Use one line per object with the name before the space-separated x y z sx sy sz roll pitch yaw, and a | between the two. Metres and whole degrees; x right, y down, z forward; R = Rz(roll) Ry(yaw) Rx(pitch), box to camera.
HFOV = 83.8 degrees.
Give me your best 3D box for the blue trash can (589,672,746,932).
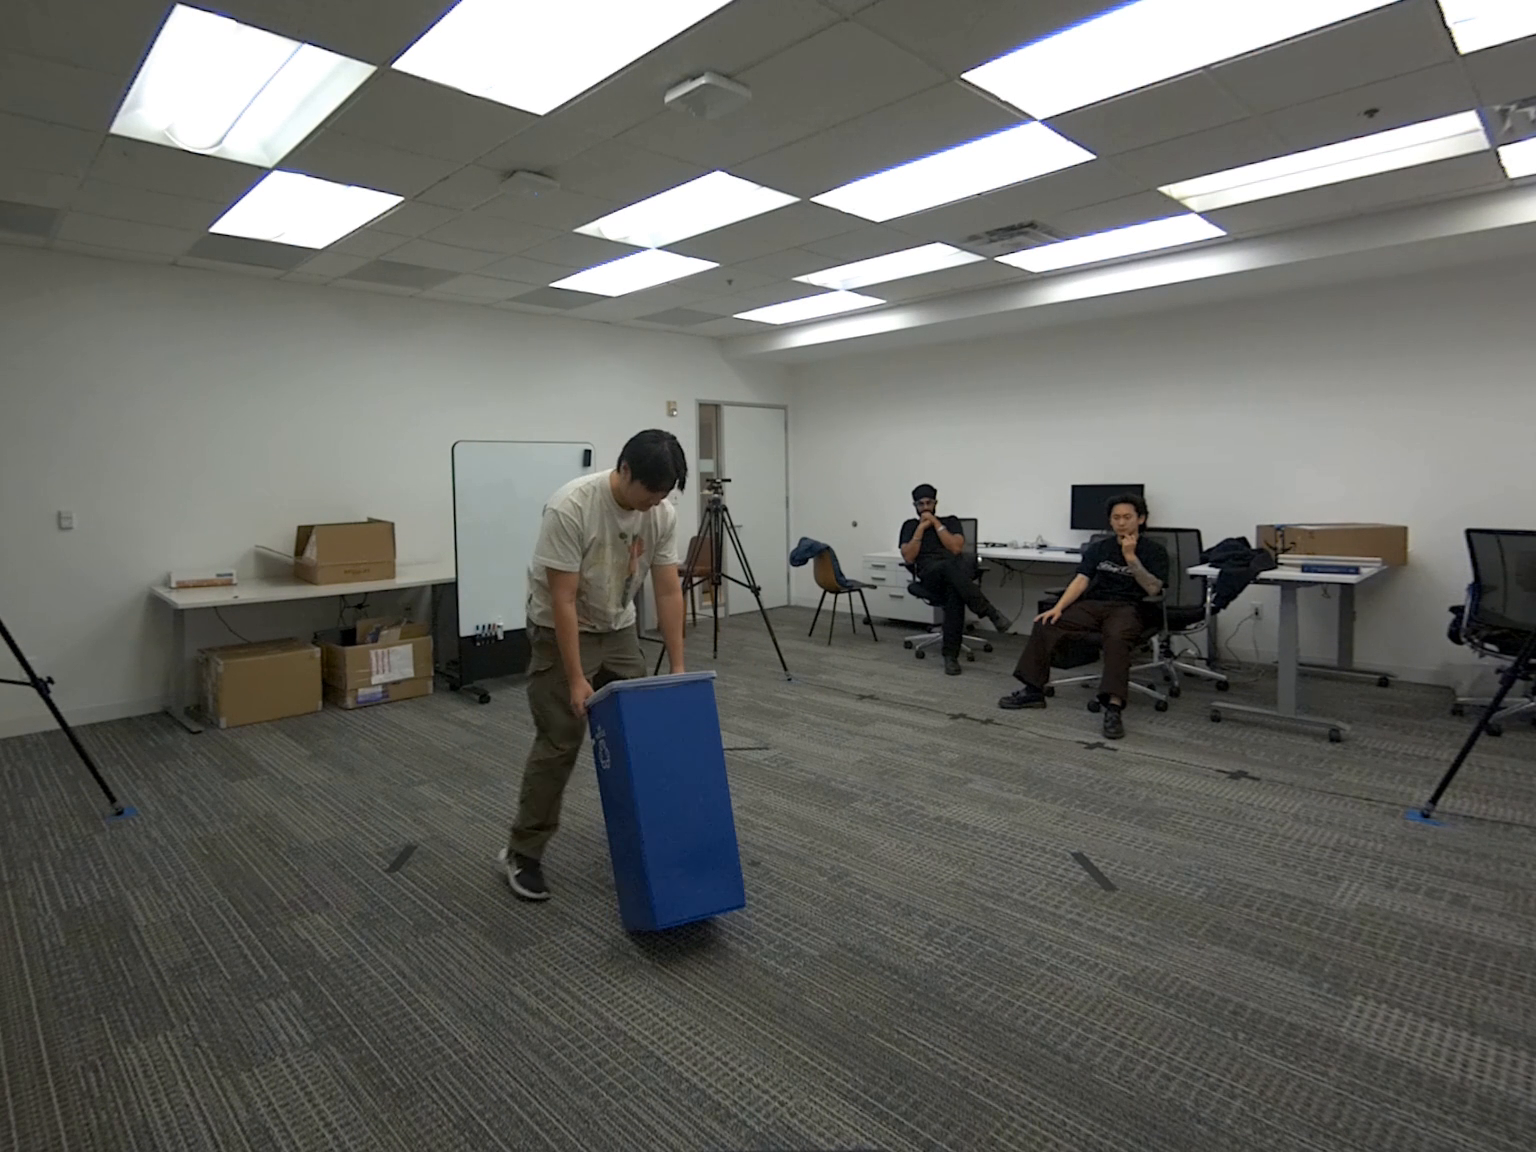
blue trash can | -0.319 0.704 2.706 0.369 0.728 0.375 -2 -21 -29
